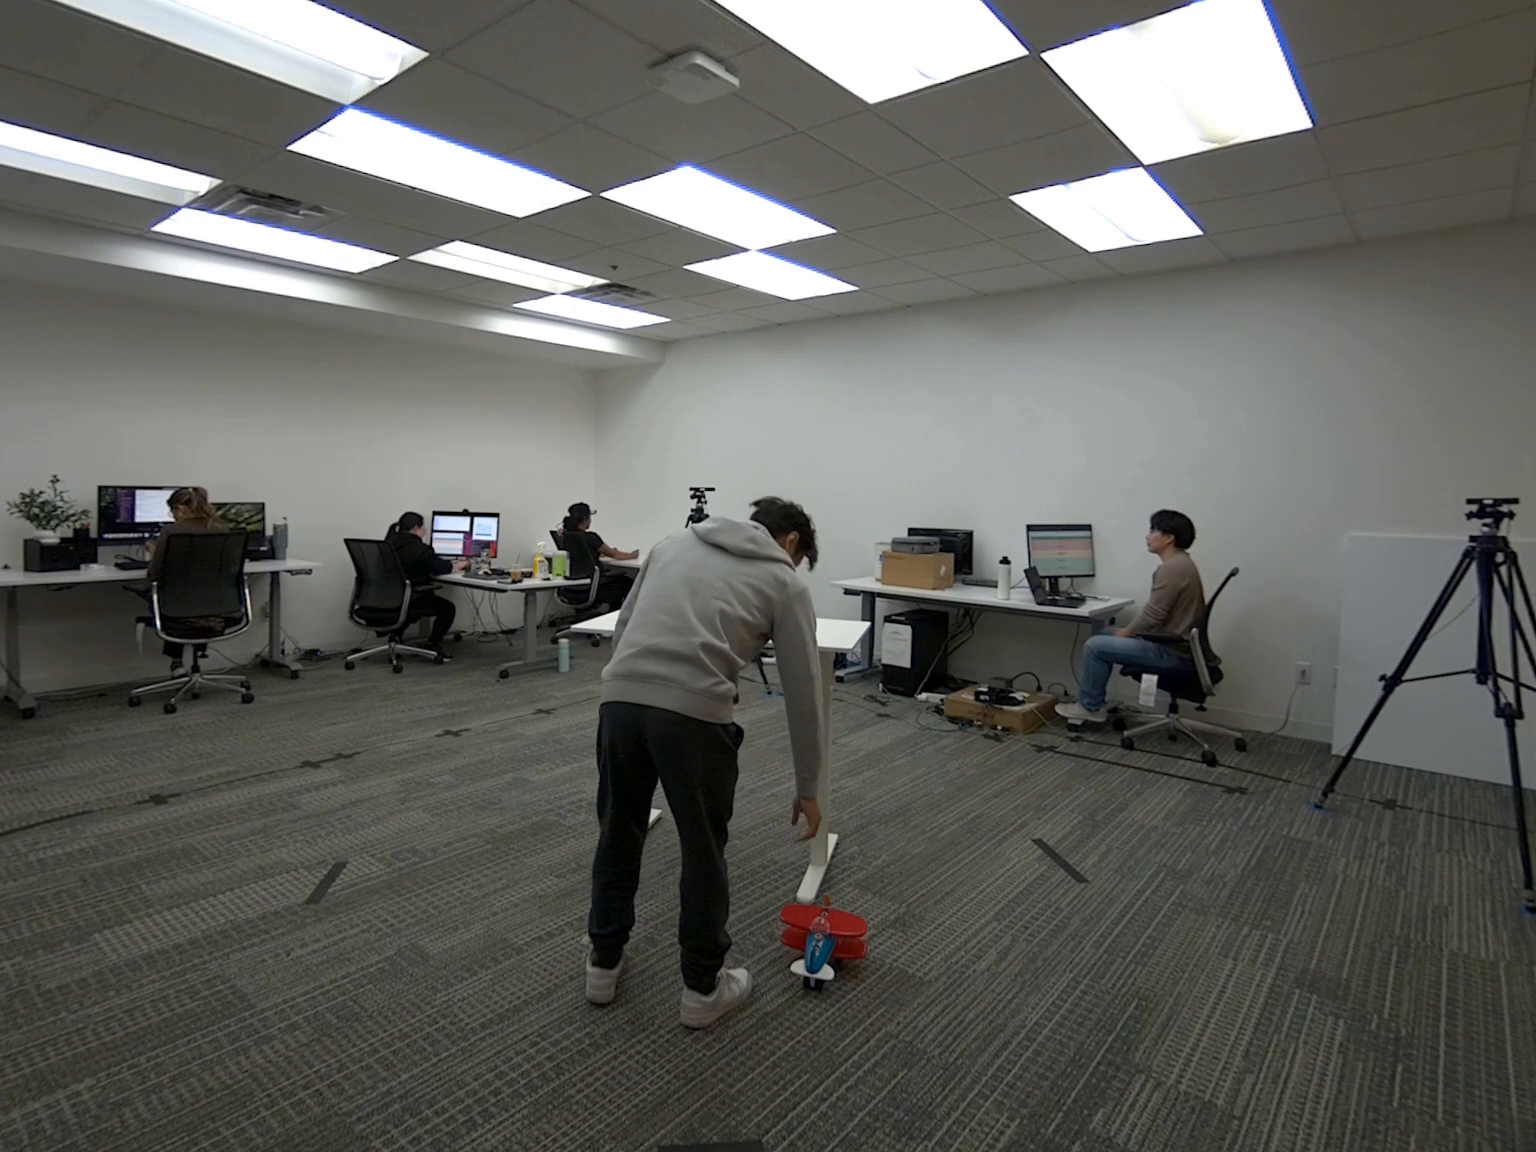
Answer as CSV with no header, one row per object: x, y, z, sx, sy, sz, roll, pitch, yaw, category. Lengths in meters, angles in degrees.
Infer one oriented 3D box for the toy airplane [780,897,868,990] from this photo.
0.163,1.062,2.463,0.248,0.156,0.263,1,4,-11,toy airplane
